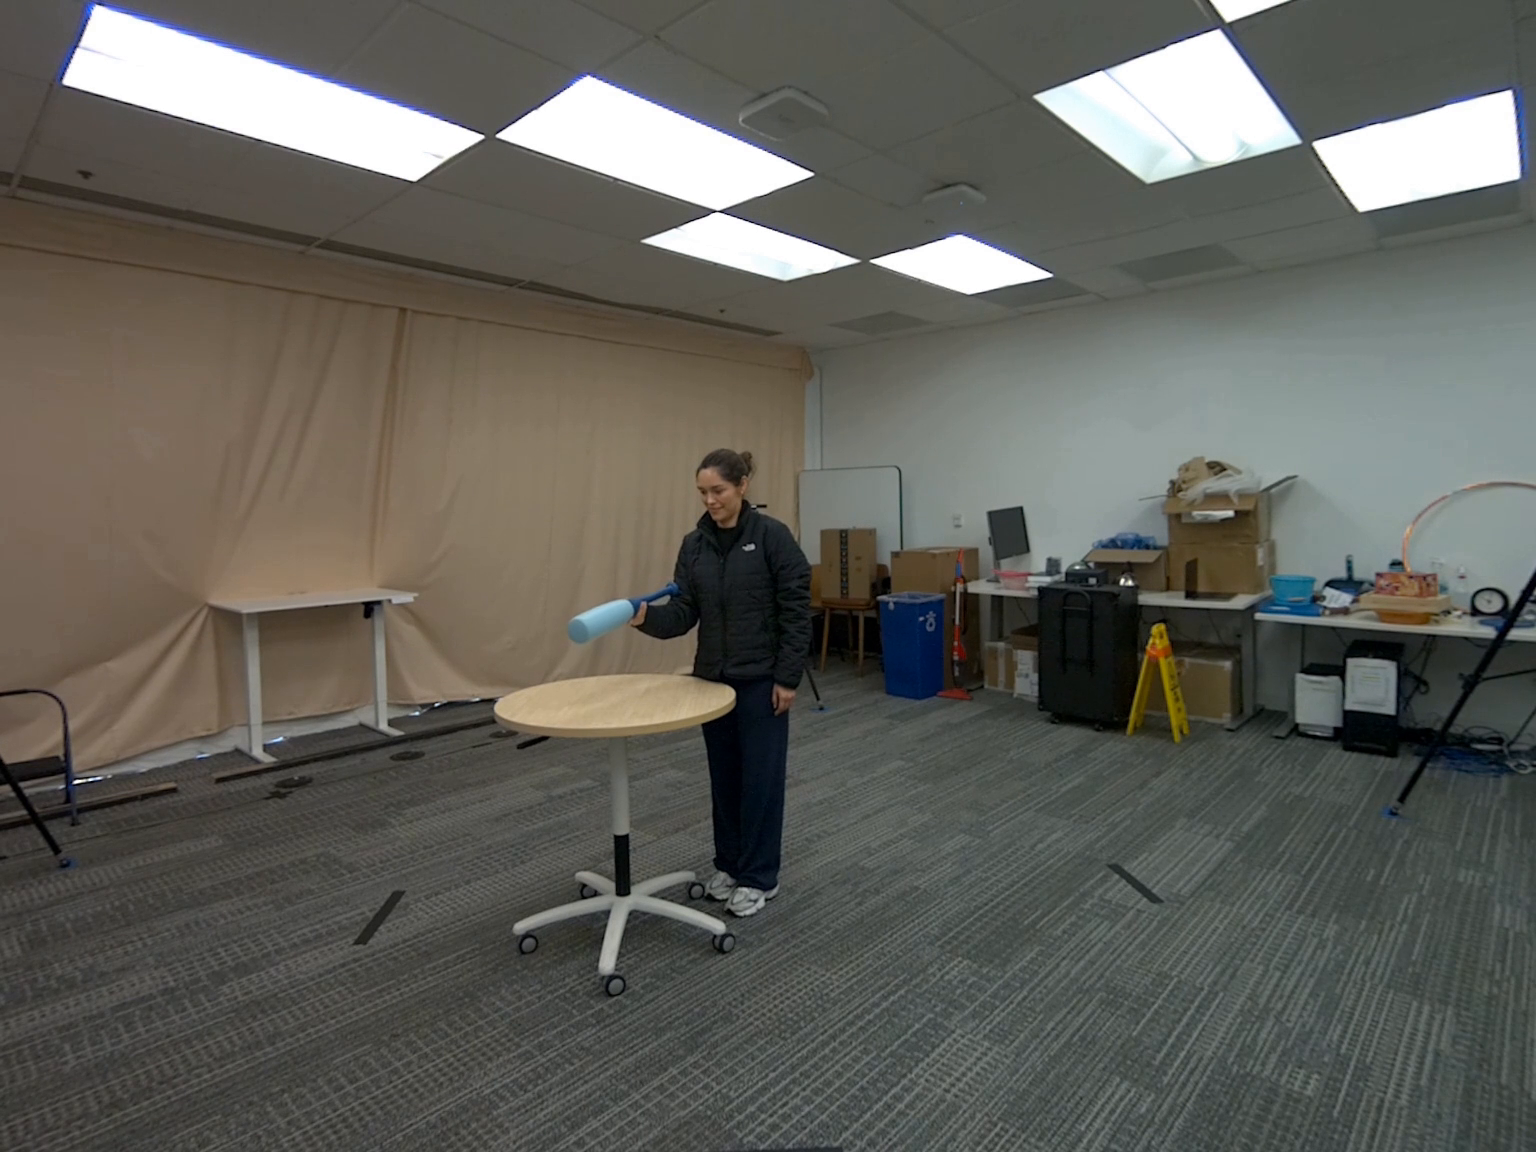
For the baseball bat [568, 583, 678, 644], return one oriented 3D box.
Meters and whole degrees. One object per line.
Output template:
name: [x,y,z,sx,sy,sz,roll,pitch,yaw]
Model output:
baseball bat: [-0.434,0.110,2.683,0.091,0.088,0.533,1,12,24]
